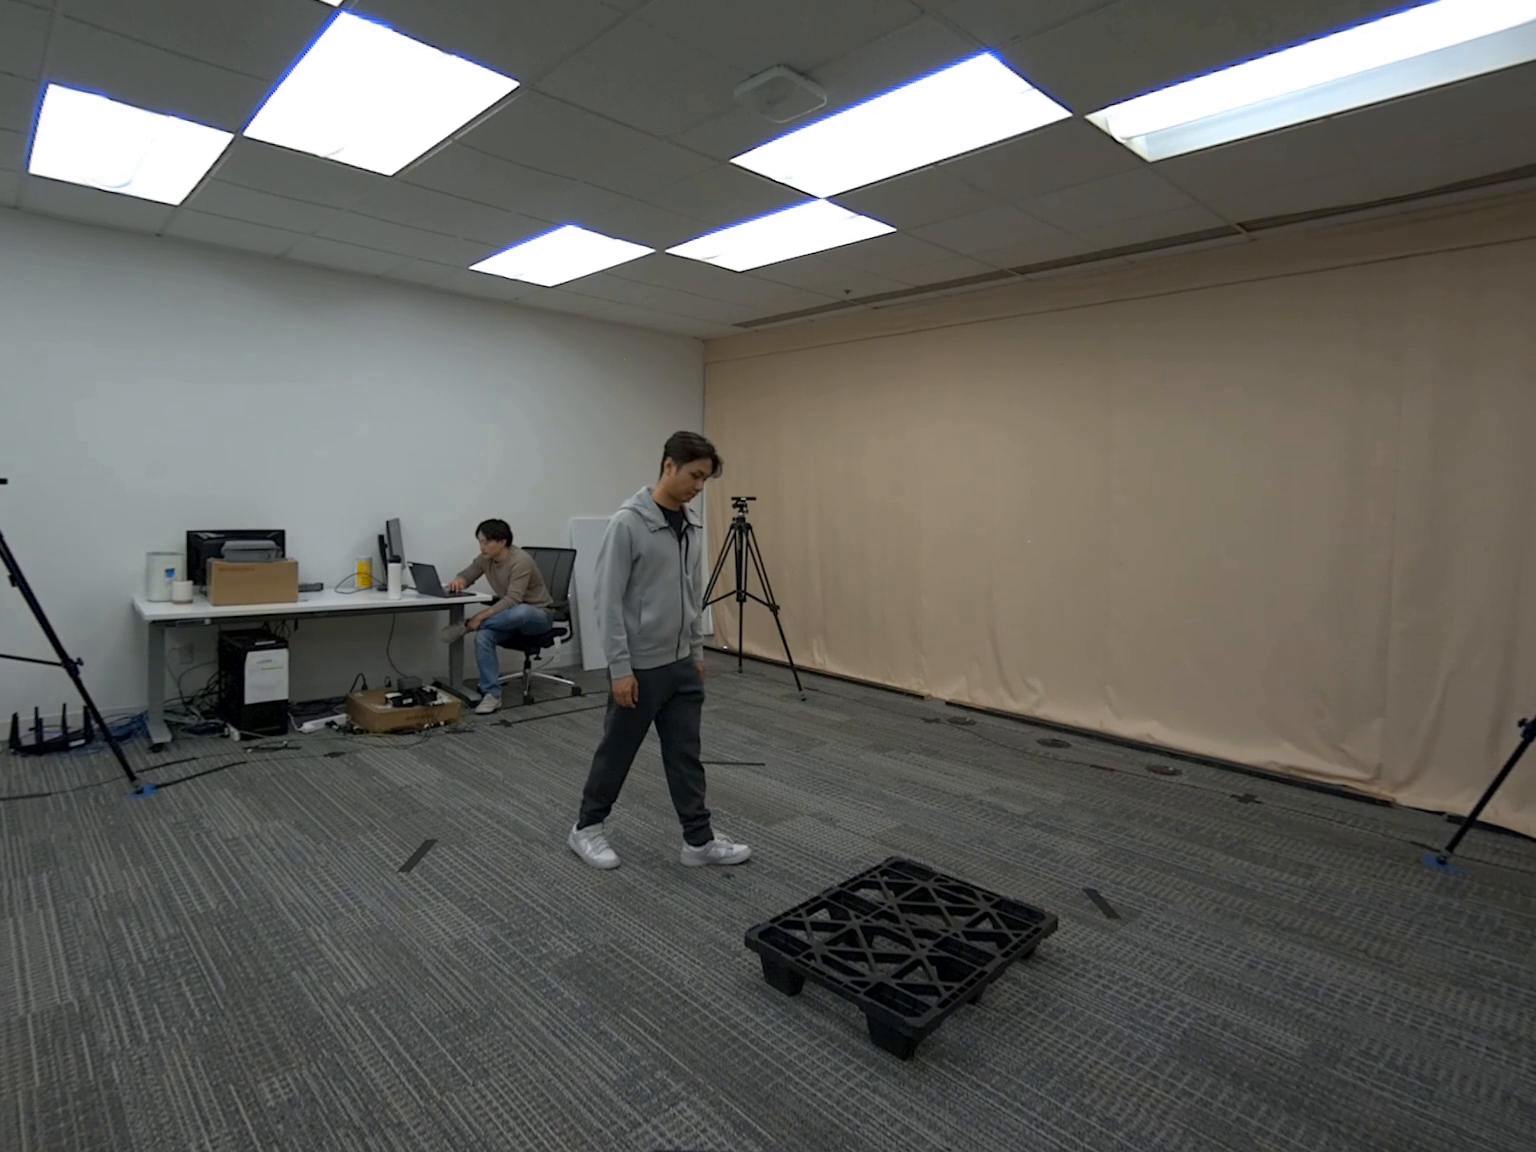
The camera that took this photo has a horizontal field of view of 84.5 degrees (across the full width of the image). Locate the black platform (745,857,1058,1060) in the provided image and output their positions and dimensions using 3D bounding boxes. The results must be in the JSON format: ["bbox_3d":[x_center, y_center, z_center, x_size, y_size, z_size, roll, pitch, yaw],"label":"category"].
[{"bbox_3d":[0.398,1.108,2.517,0.621,0.143,0.787,6,7,43],"label":"black platform"}]
